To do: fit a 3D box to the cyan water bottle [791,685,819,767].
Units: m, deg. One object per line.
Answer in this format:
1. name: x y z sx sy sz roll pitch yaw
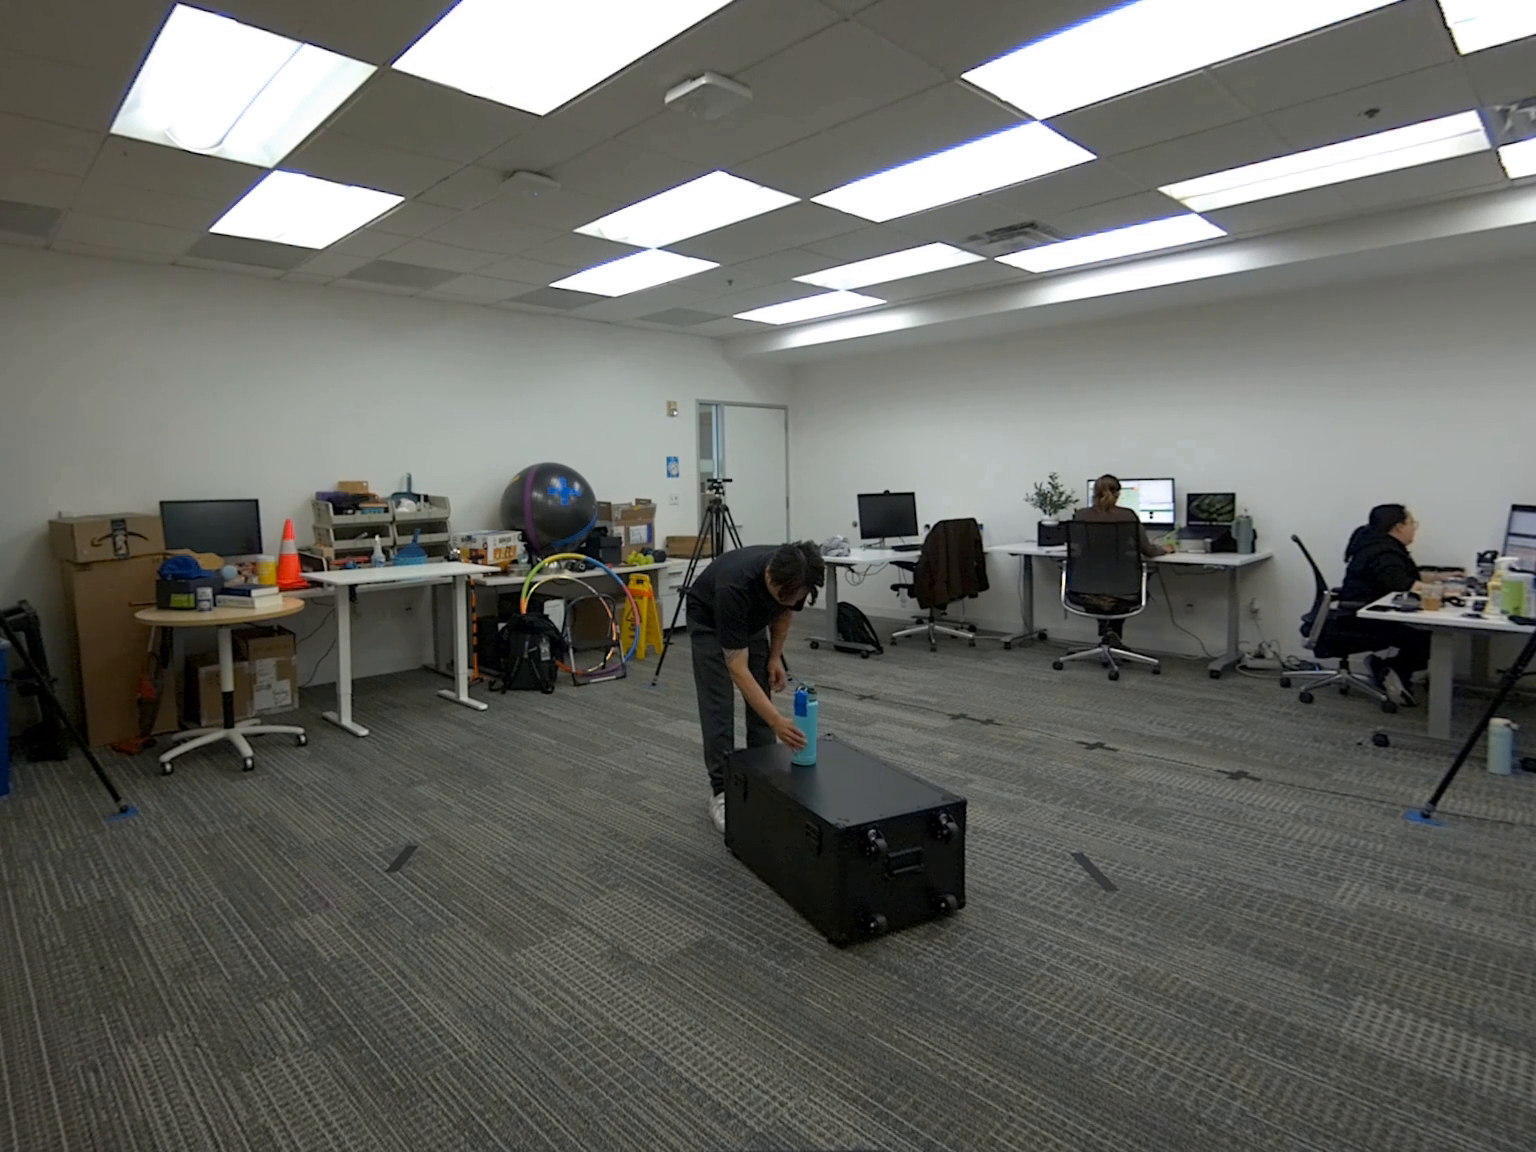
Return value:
1. cyan water bottle: 0.131 0.527 3.070 0.092 0.282 0.093 2 5 -2
